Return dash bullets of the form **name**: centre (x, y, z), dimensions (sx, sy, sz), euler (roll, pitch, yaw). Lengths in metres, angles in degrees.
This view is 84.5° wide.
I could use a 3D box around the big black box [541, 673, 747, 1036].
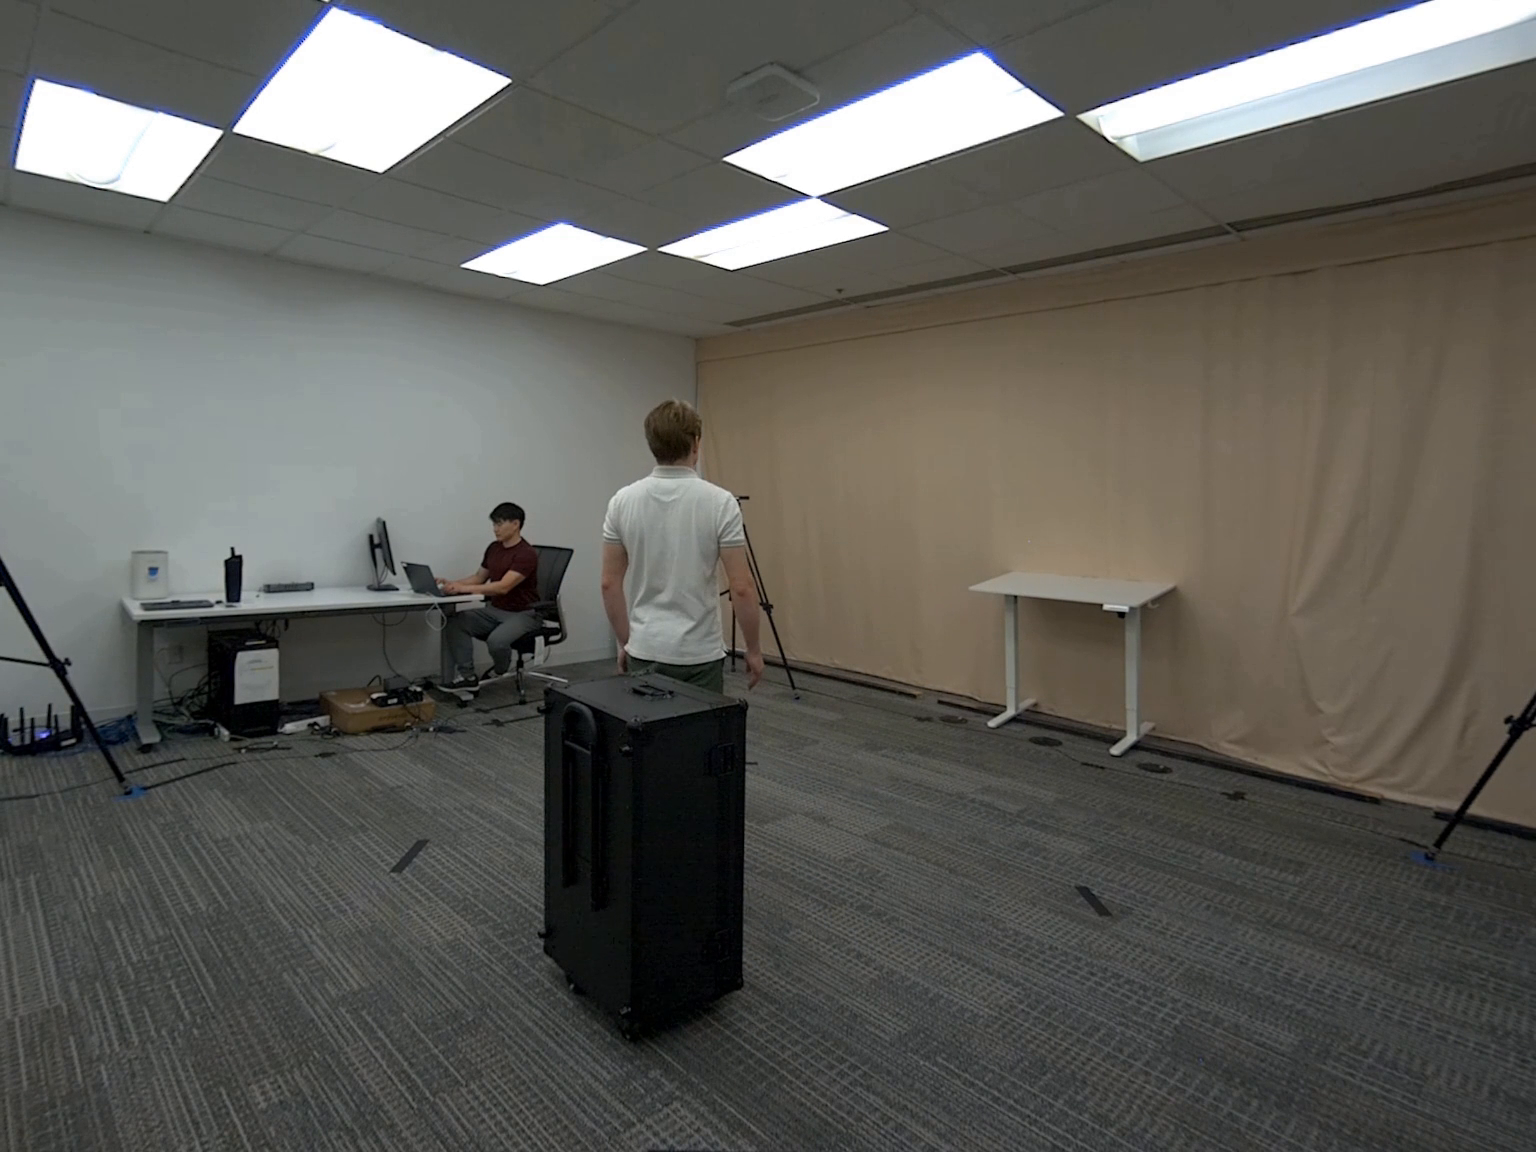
- **big black box**: centre (-0.354, 0.753, 2.312), dimensions (0.376, 0.866, 0.536), euler (-2, 5, -41)
